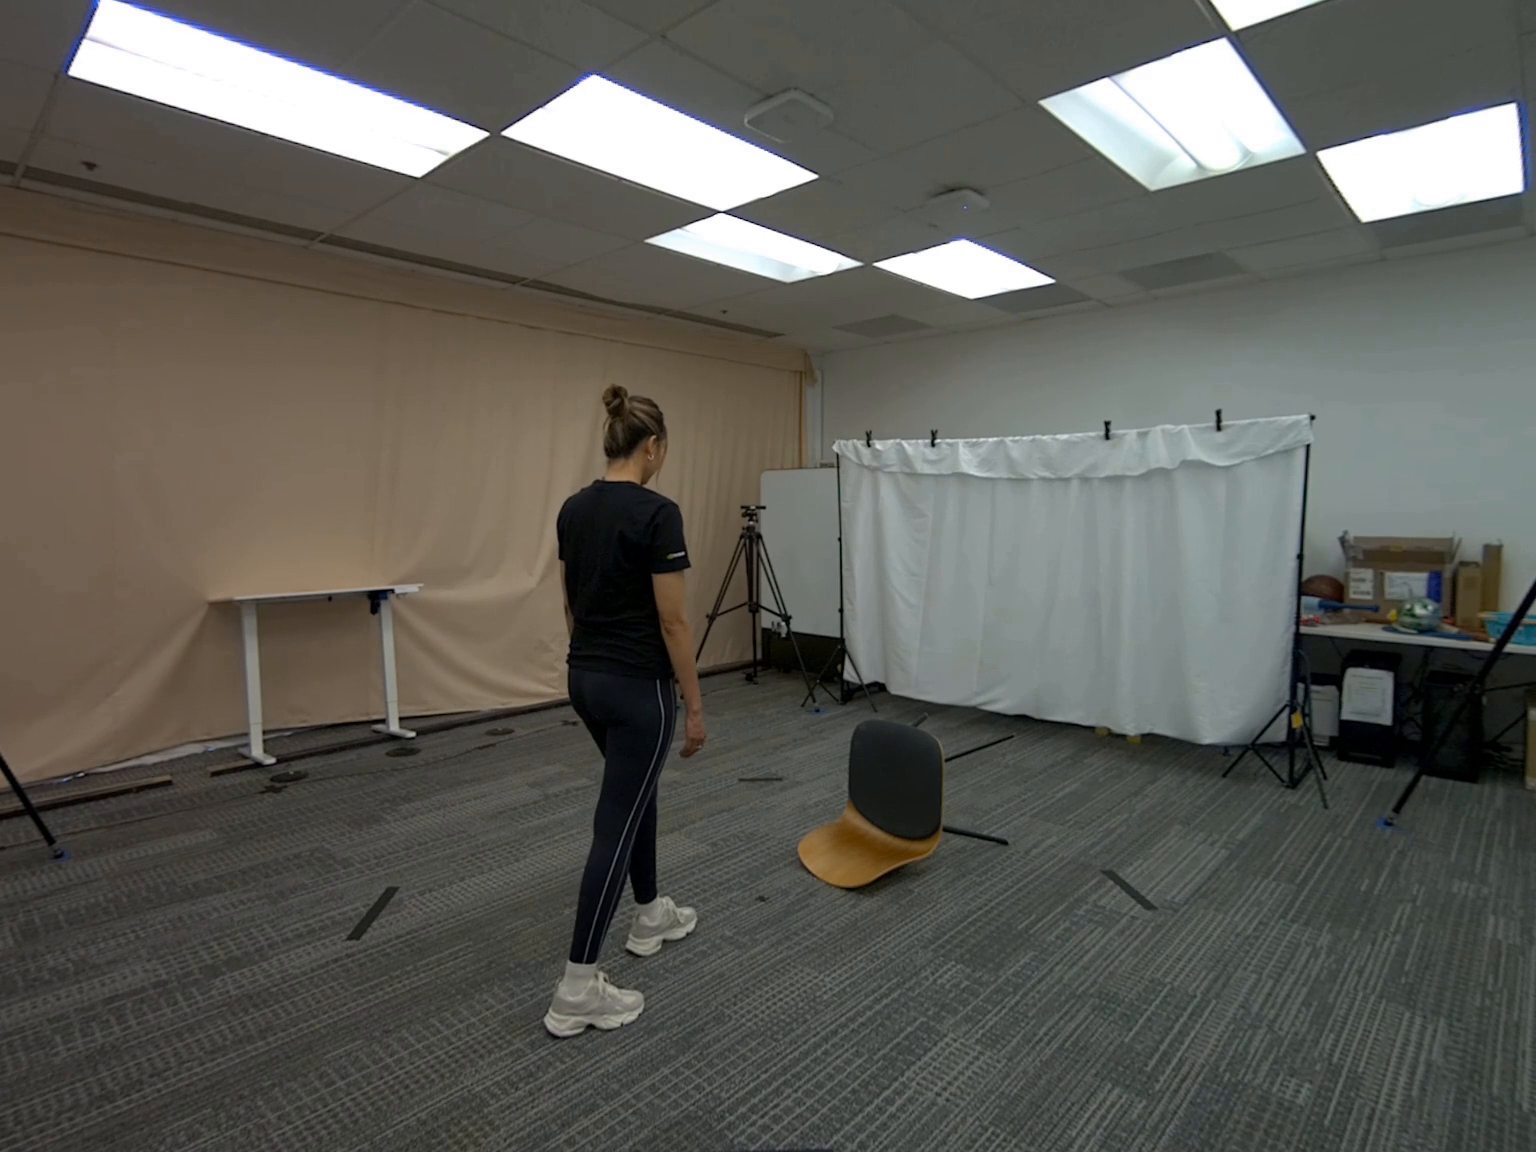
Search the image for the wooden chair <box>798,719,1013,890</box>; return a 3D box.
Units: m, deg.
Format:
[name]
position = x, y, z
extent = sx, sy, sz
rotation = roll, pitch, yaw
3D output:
[wooden chair]
position = 0.525, 0.848, 3.369
extent = 0.851, 0.522, 0.494
rotation = -5, 6, -40
